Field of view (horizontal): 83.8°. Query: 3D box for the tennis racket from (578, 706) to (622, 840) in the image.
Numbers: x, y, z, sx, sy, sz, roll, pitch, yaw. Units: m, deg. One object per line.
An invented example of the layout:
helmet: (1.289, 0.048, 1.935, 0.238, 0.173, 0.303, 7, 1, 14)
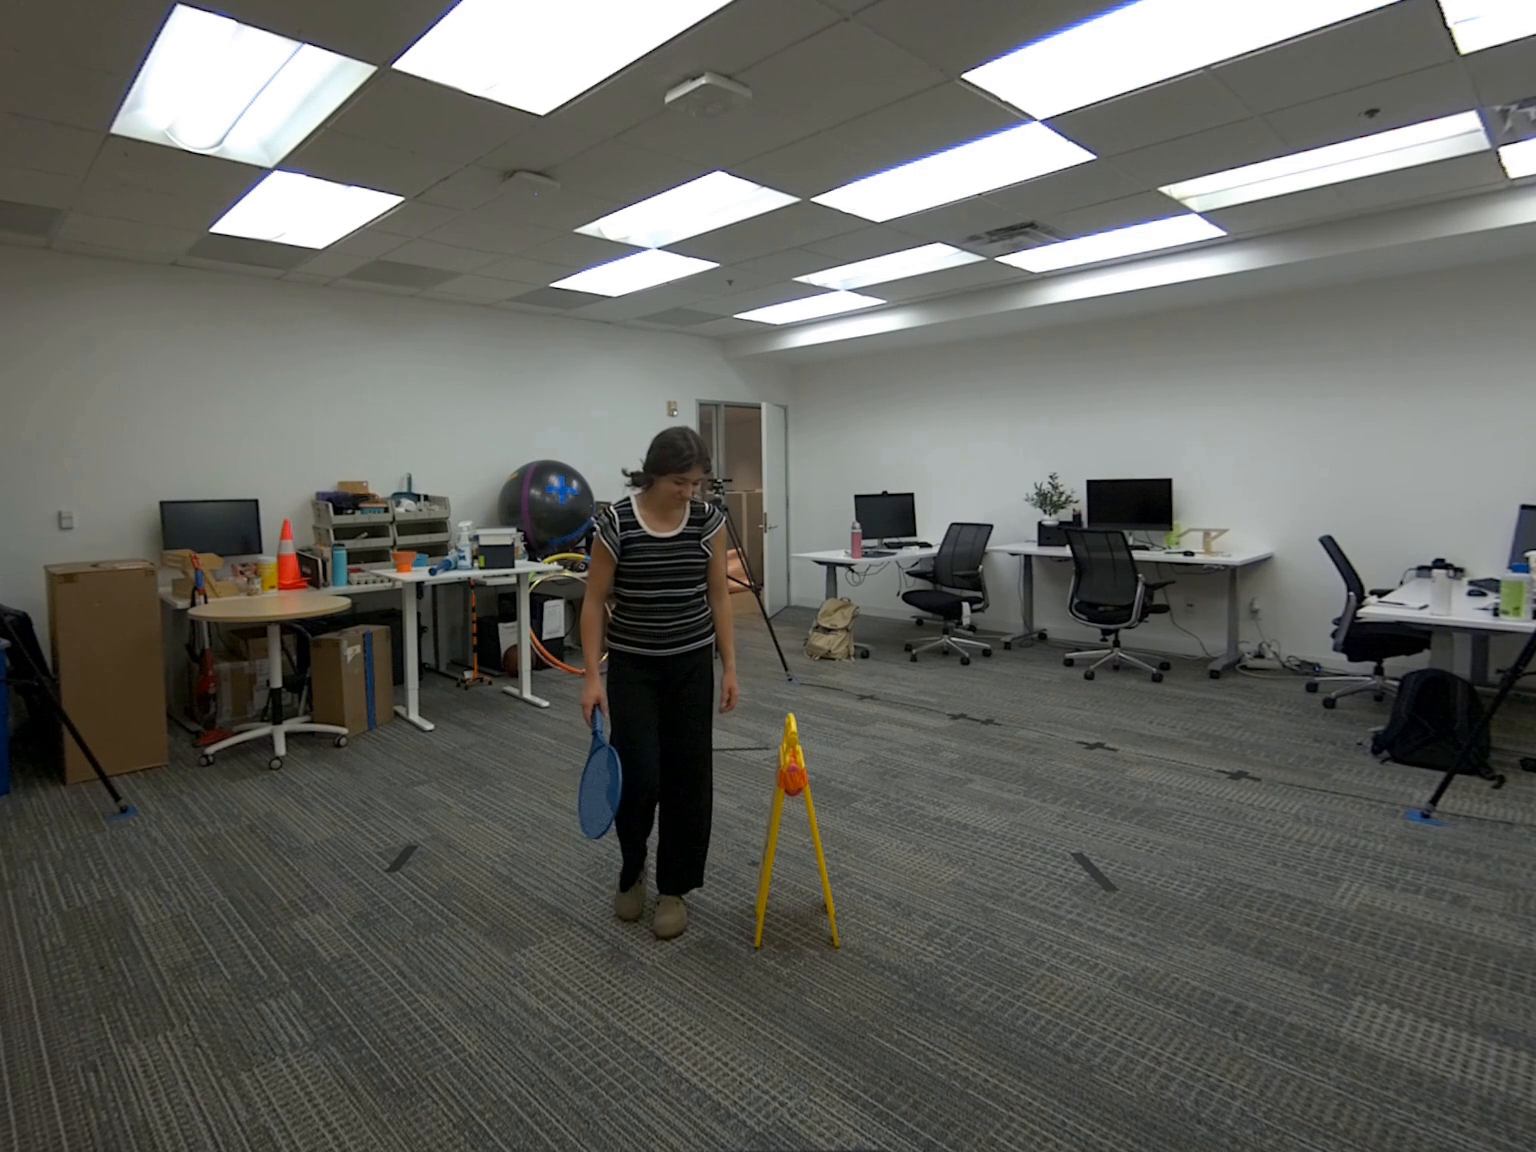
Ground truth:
tennis racket: (-0.482, 0.537, 2.438, 0.031, 0.447, 0.214, 21, -51, -33)
